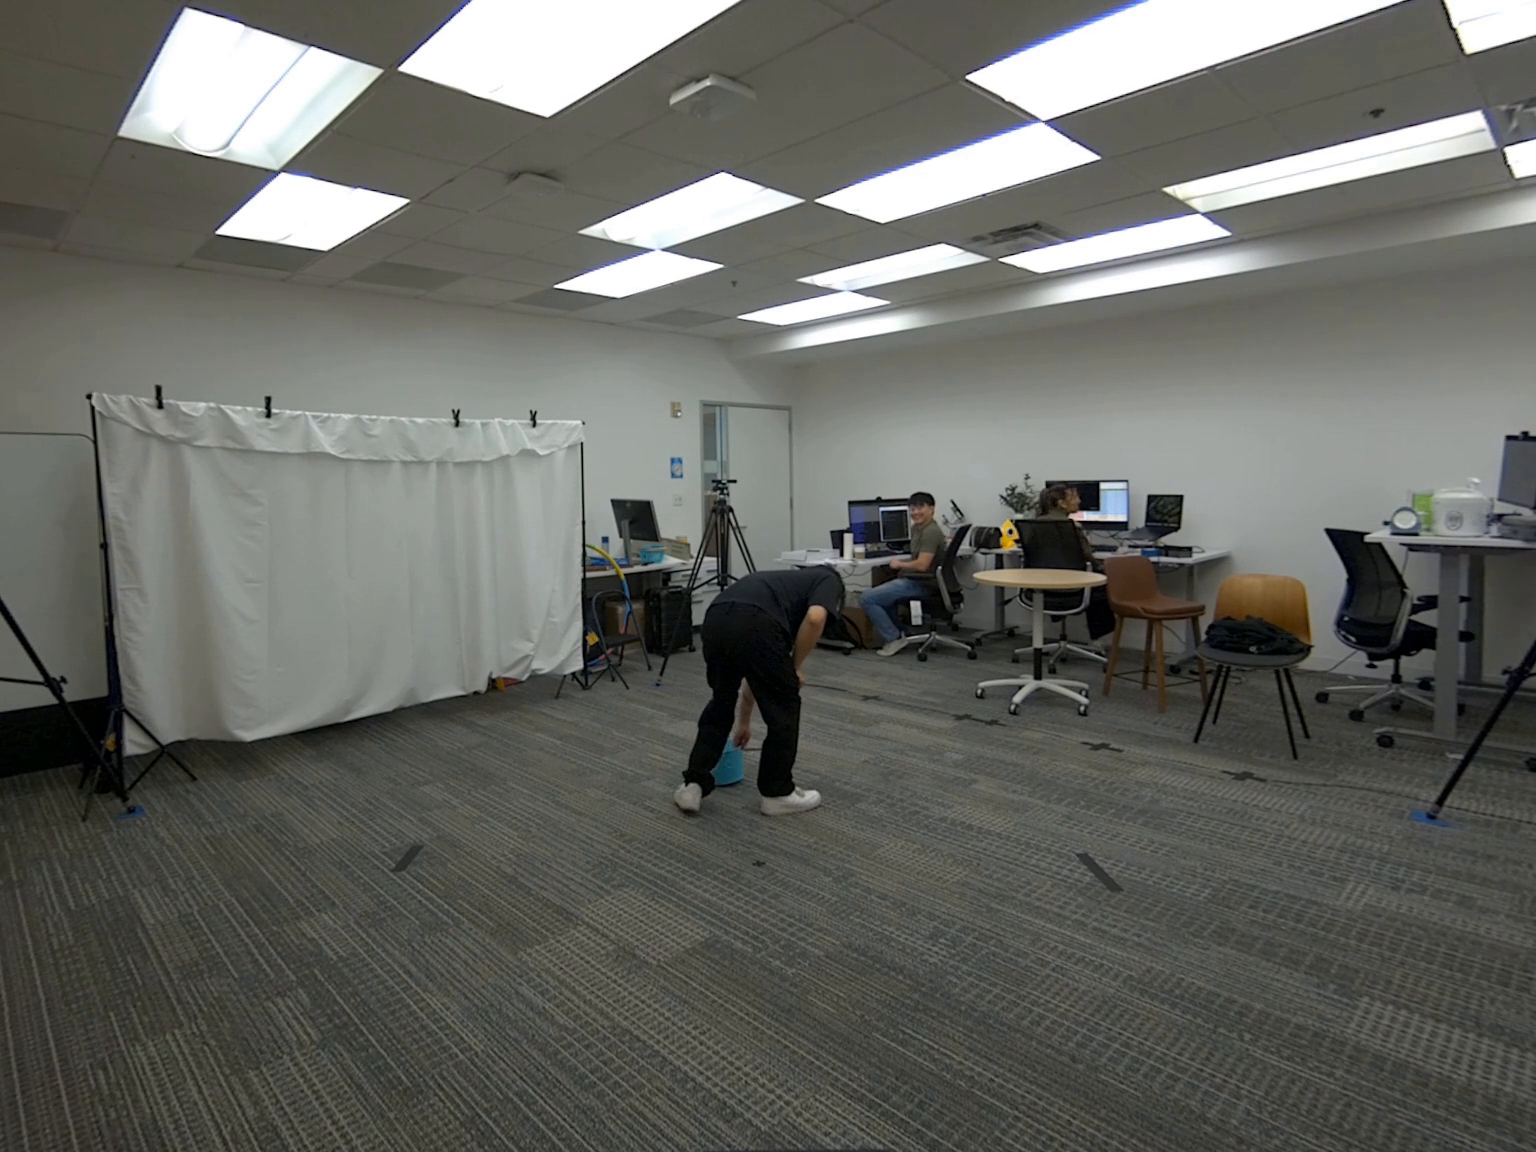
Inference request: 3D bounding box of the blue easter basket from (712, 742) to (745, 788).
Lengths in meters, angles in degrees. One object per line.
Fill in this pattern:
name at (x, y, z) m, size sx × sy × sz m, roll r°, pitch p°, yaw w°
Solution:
blue easter basket at (-0.210, 0.869, 3.975) m, size 0.243 × 0.156 × 0.244 m, roll -9°, pitch 2°, yaw -1°
